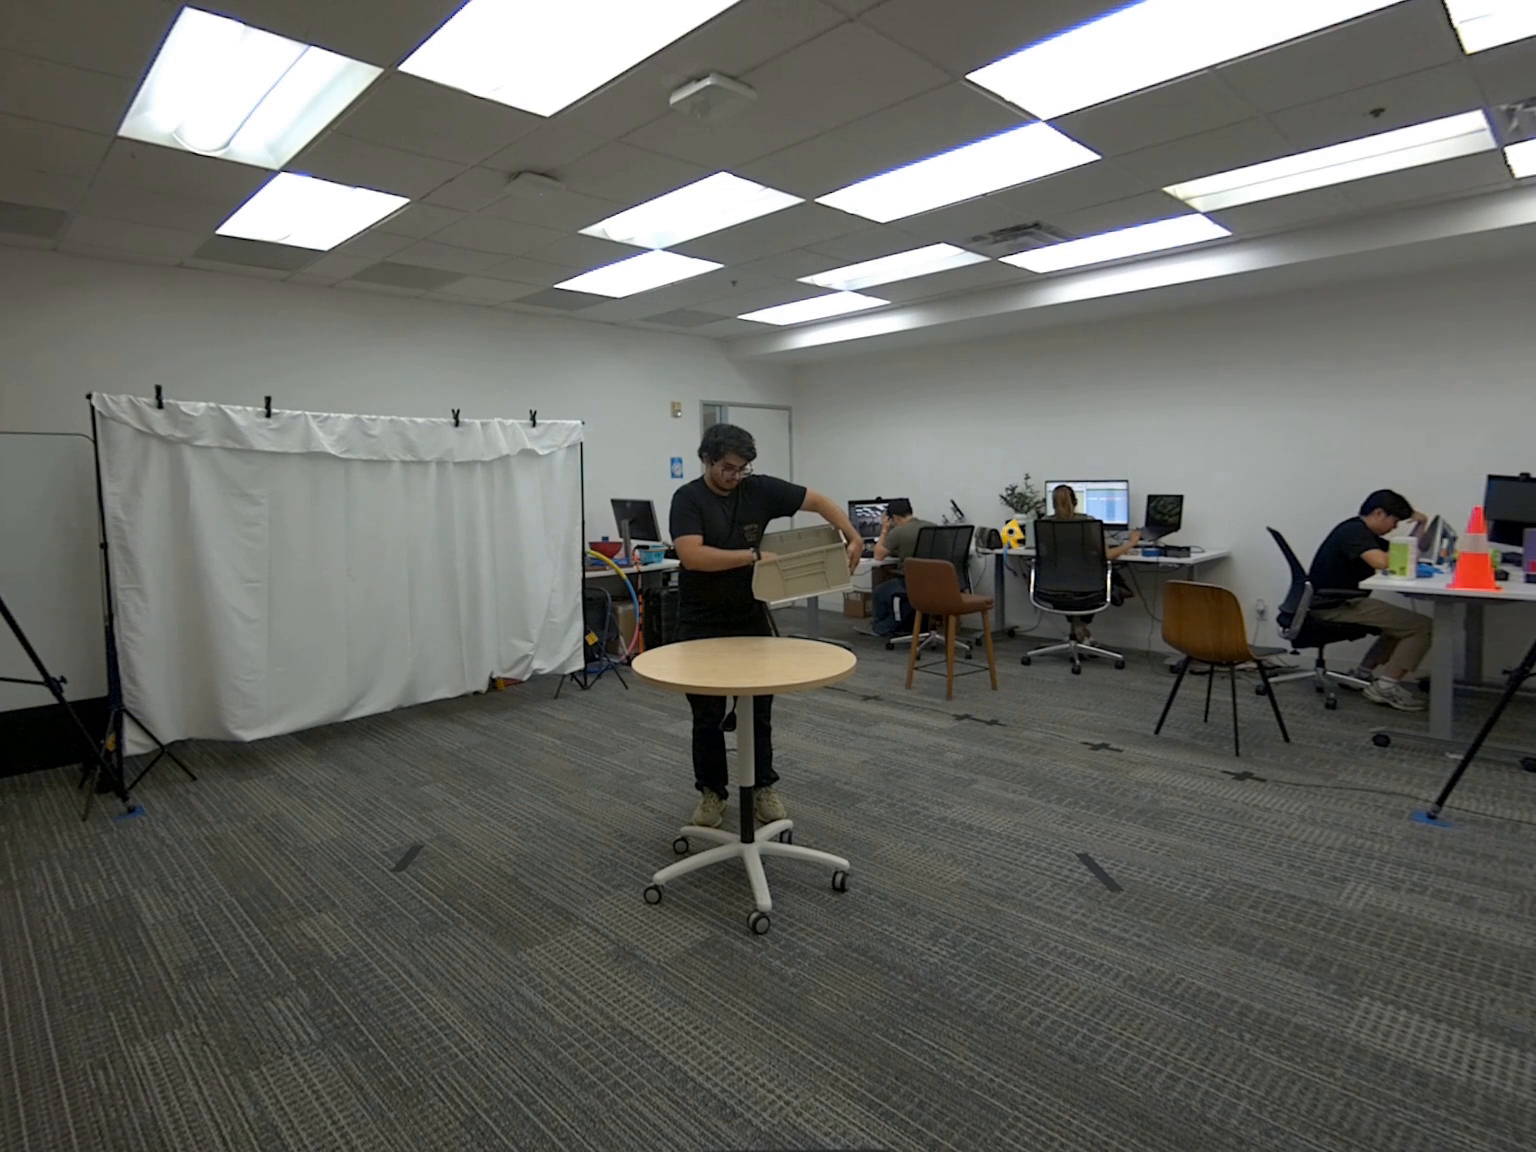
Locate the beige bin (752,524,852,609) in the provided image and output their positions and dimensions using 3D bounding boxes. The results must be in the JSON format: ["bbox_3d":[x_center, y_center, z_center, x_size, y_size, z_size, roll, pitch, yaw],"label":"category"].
[{"bbox_3d":[0.113,-0.053,3.375,0.379,0.187,0.426,-9,12,3],"label":"beige bin"}]
